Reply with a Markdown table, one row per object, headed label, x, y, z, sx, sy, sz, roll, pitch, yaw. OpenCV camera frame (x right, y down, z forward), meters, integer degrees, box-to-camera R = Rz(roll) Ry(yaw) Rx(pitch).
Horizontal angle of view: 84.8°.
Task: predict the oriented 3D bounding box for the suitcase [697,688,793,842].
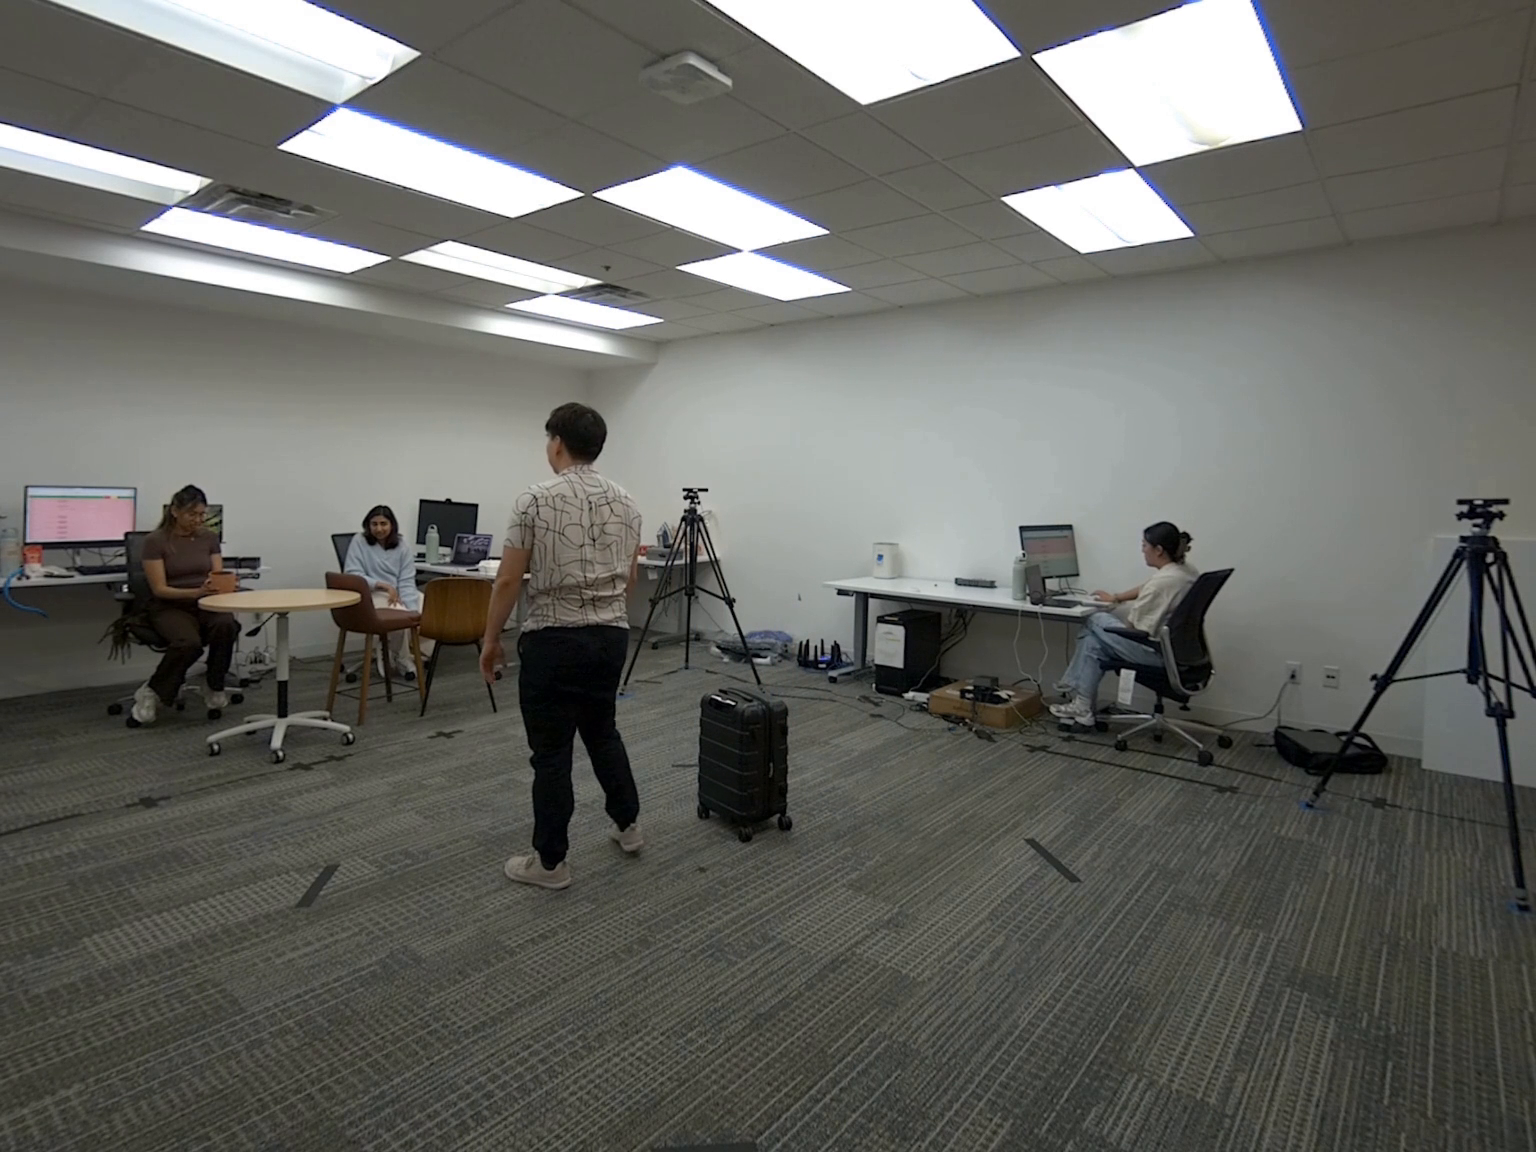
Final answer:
| label | x | y | z | sx | sy | sz | roll | pitch | yaw |
| --- | --- | --- | --- | --- | --- | --- | --- | --- | --- |
| suitcase | -0.118 | 0.750 | 3.564 | 0.241 | 0.548 | 0.387 | -1 | 2 | -37 |
